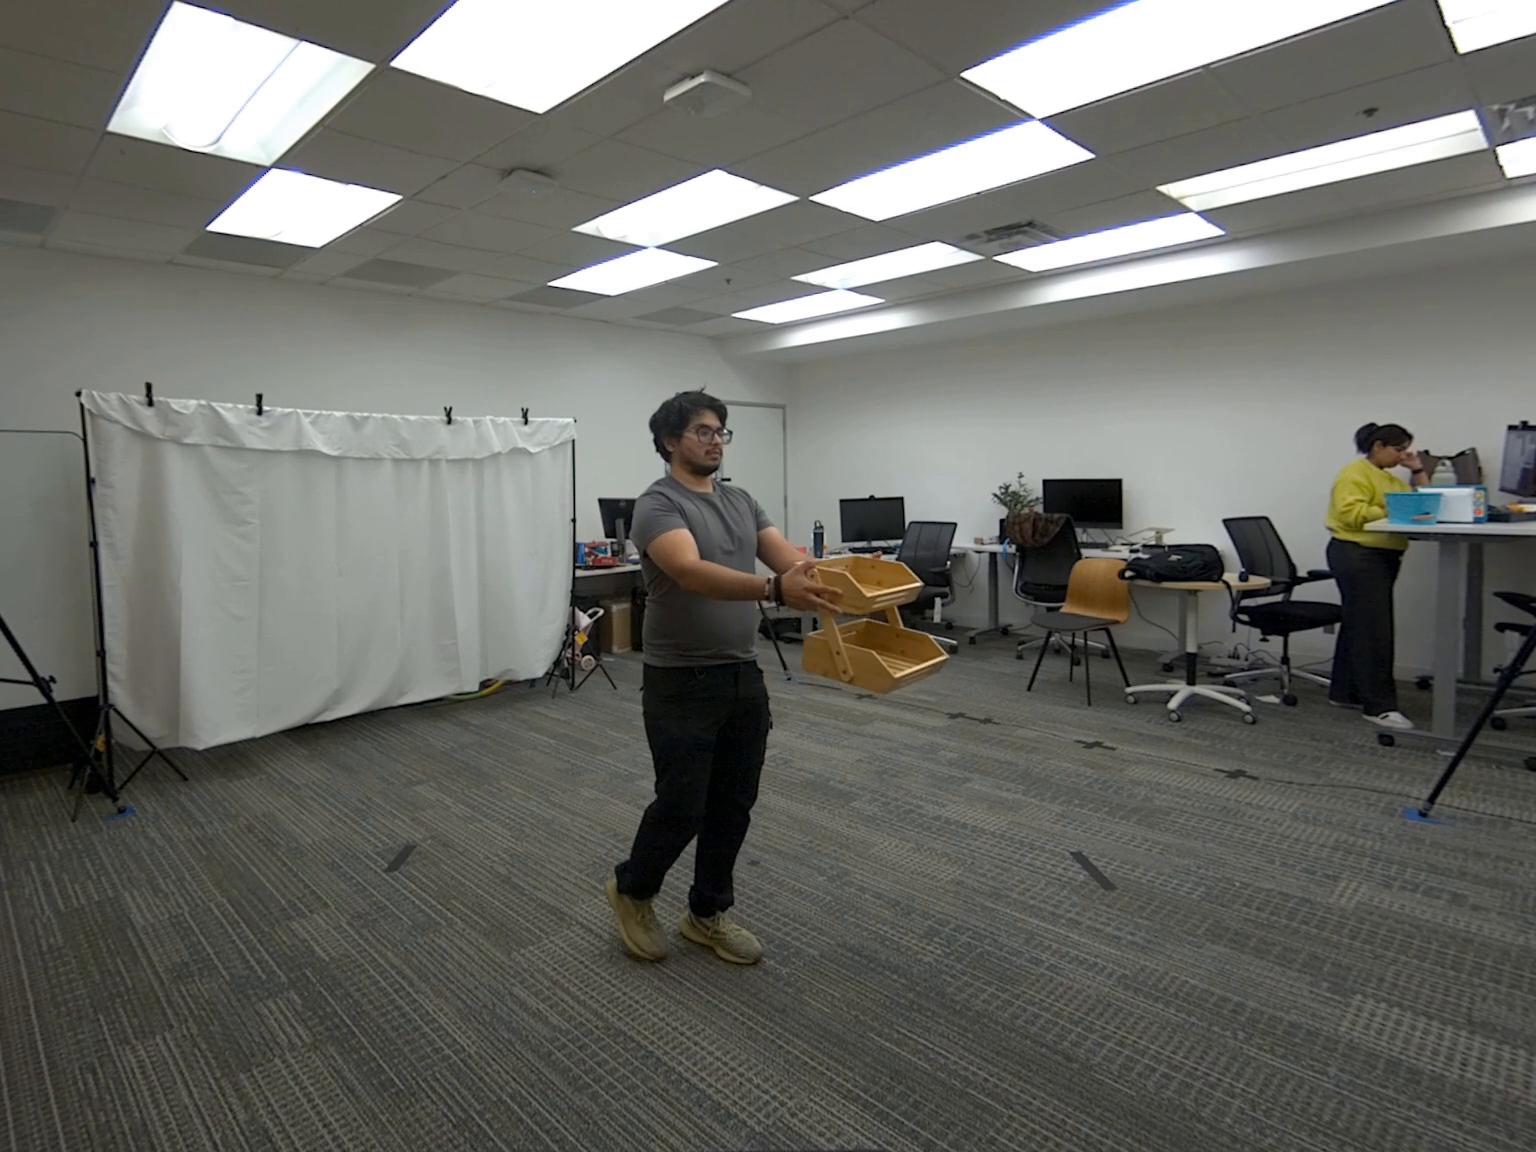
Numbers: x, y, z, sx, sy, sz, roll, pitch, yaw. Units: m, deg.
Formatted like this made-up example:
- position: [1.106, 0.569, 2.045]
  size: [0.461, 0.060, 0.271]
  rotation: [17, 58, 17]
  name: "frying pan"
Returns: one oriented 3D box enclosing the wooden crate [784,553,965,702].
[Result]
- position: [0.266, 0.109, 2.138]
  size: [0.312, 0.271, 0.316]
  rotation: [10, 10, 36]
  name: "wooden crate"
